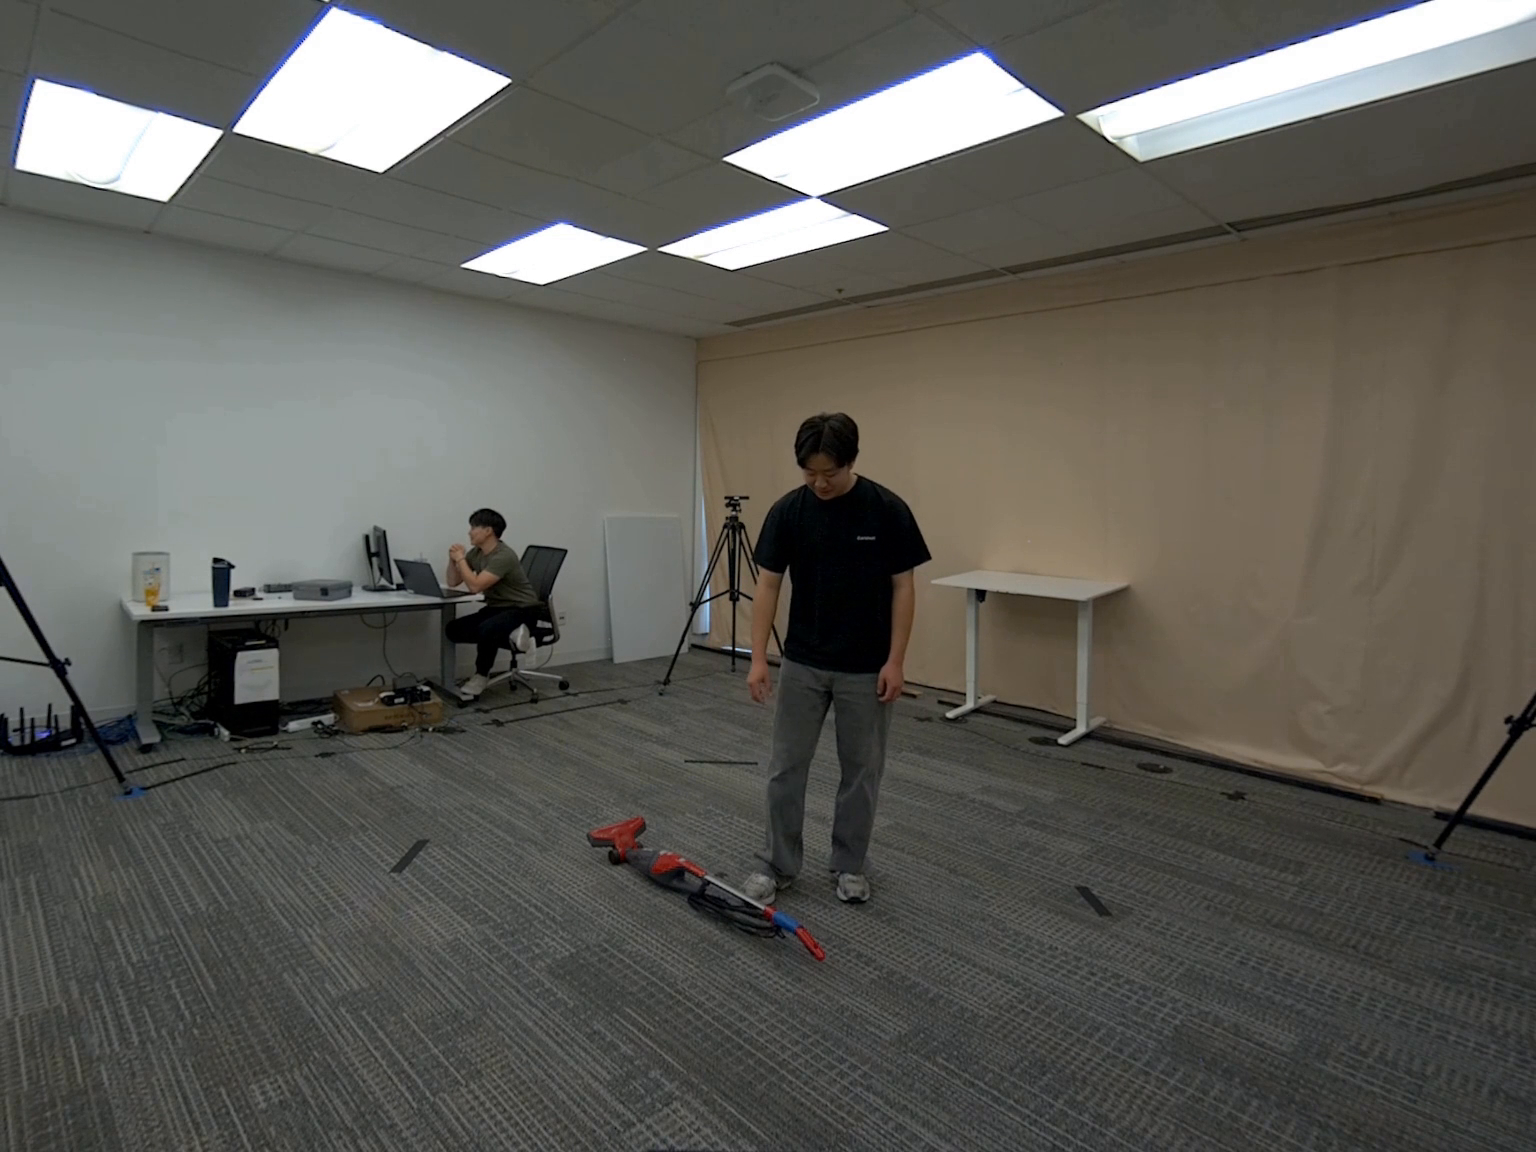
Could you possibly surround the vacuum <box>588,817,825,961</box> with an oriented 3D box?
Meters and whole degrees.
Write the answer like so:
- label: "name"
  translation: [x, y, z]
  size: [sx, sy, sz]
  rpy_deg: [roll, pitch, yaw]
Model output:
- label: "vacuum"
  translation: [-0.217, 1.069, 2.850]
  size: [0.247, 0.143, 1.077]
  rpy_deg: [-4, 8, -41]
